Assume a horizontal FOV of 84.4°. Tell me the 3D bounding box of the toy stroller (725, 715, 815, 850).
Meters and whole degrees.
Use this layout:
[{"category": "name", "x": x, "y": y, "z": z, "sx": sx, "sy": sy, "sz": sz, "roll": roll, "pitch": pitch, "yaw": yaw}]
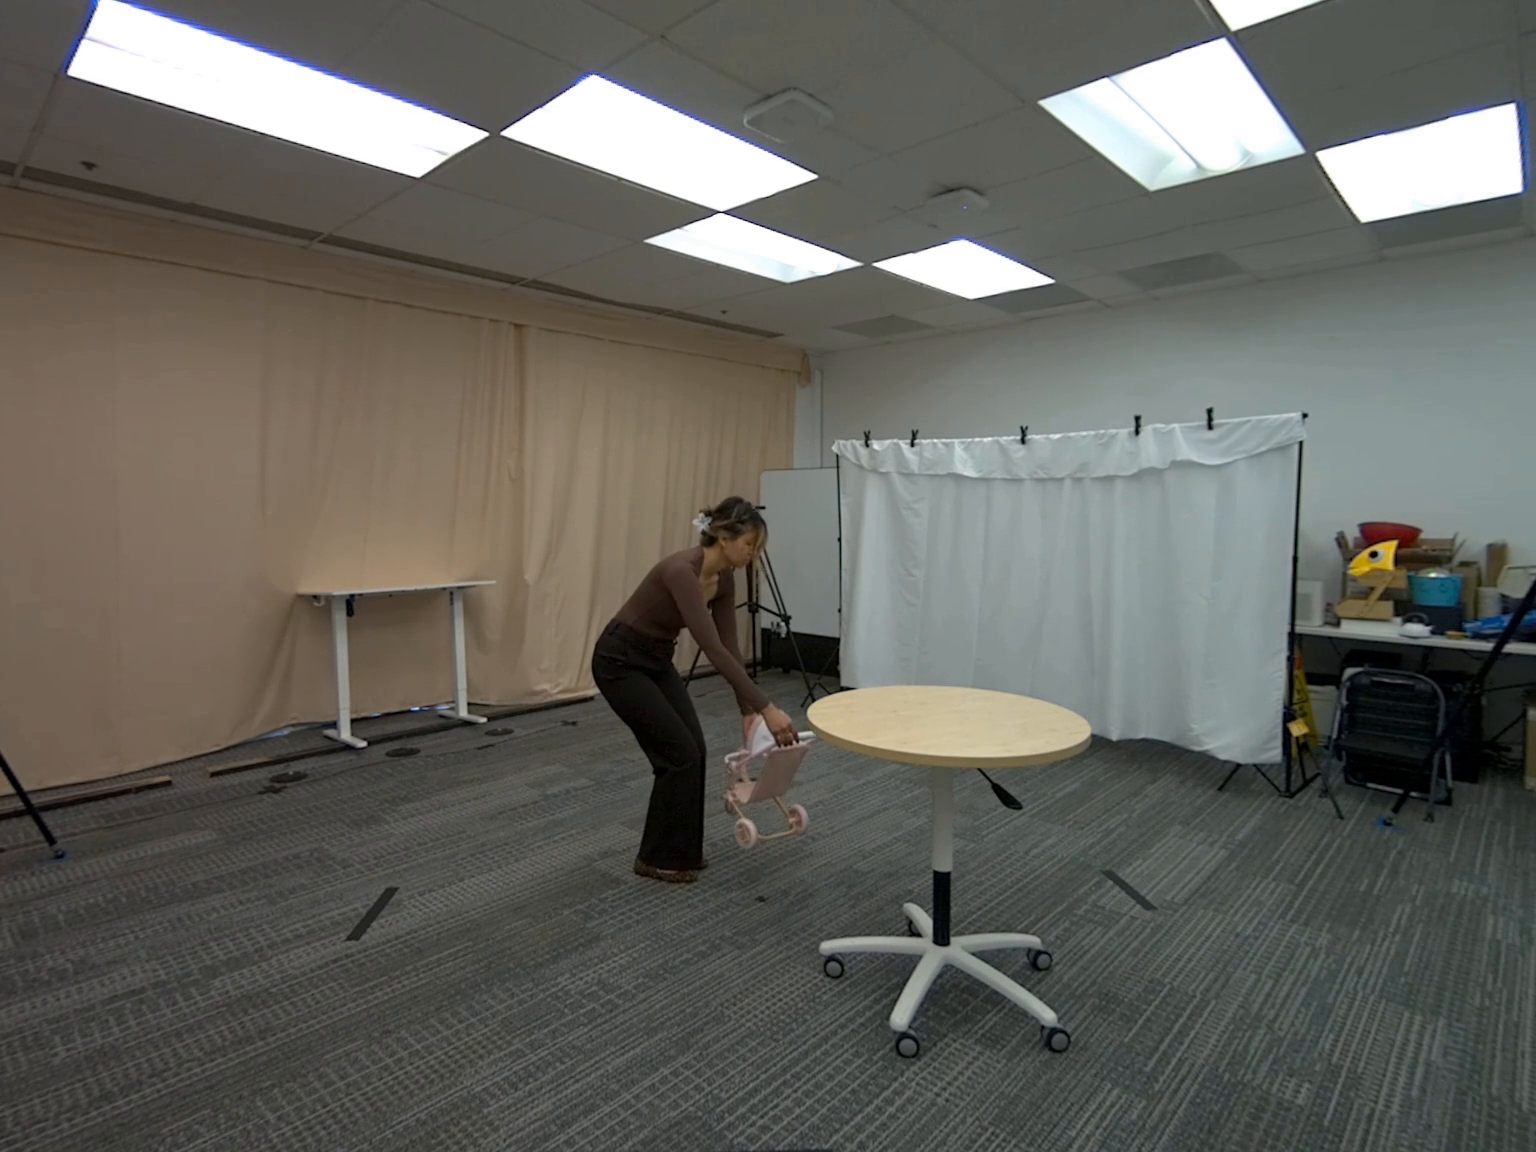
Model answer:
[{"category": "toy stroller", "x": -0.001, "y": 0.726, "z": 3.099, "sx": 0.273, "sy": 0.531, "sz": 0.354, "roll": -1, "pitch": 21, "yaw": -34}]
